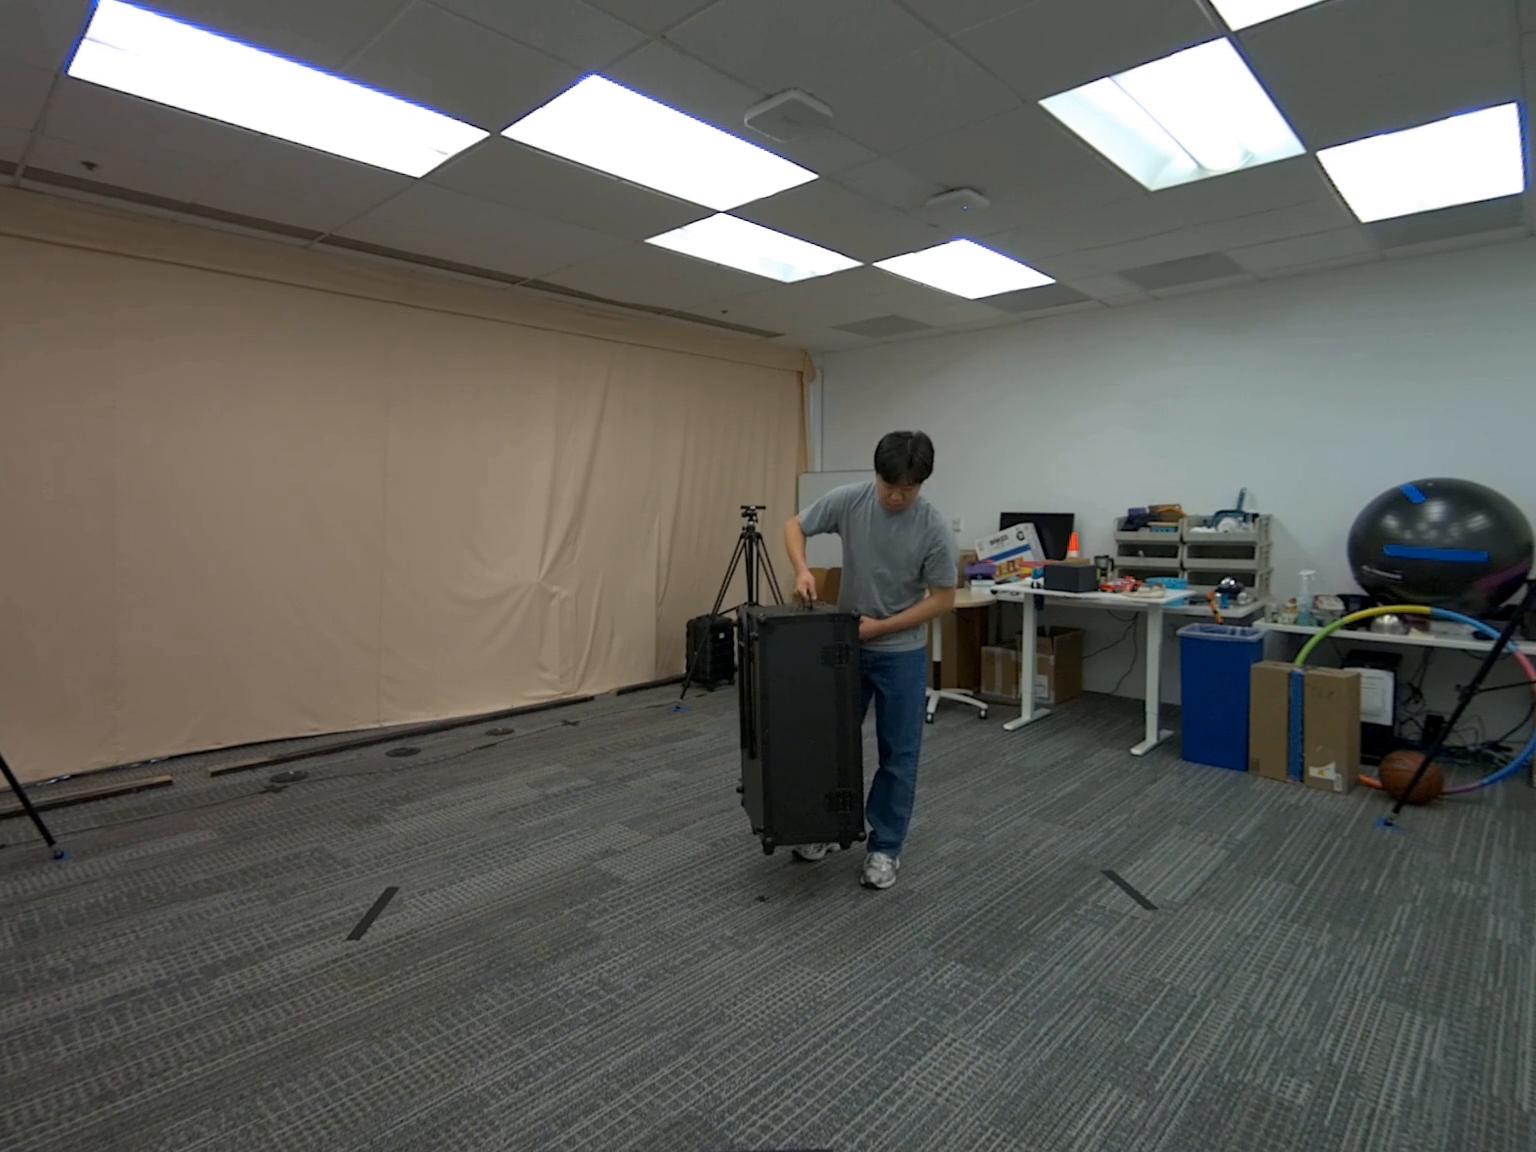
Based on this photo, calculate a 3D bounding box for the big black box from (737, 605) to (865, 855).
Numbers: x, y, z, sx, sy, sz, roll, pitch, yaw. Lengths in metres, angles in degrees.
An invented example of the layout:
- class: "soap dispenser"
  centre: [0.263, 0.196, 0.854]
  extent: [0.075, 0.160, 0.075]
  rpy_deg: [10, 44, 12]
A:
- class: "big black box"
  centre: [0.101, 0.482, 3.096]
  extent: [0.393, 0.861, 0.526]
  rpy_deg: [-1, 1, -8]
